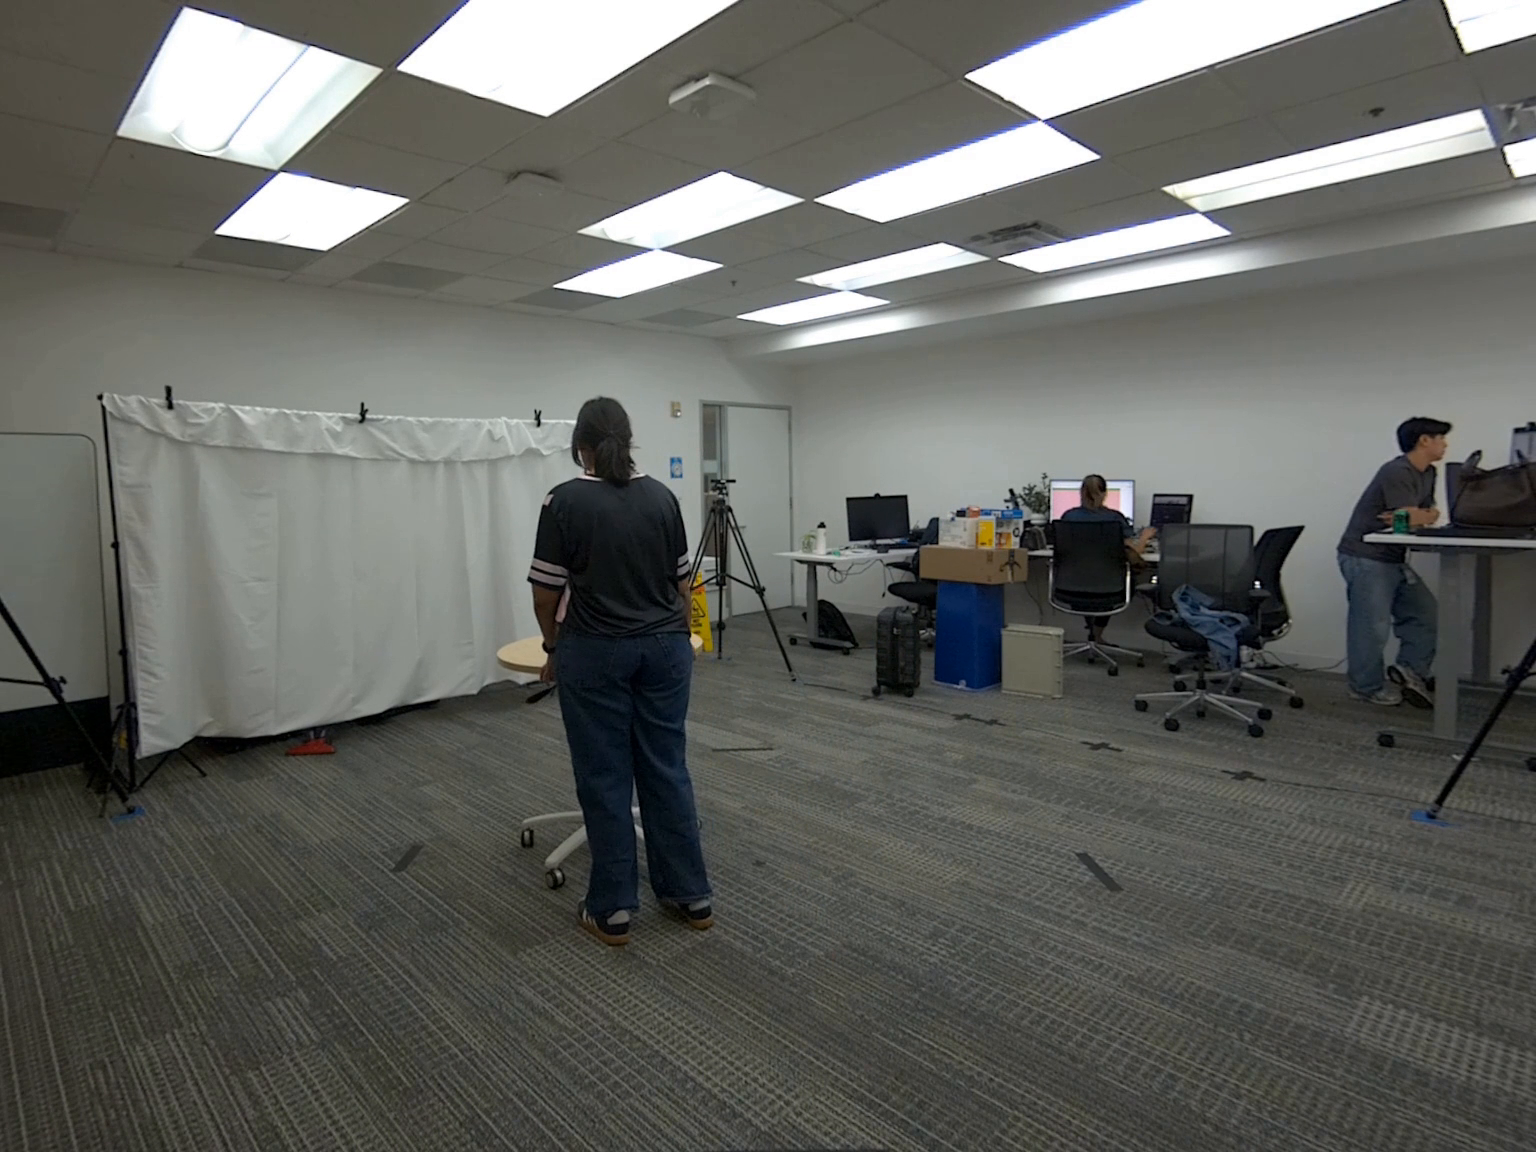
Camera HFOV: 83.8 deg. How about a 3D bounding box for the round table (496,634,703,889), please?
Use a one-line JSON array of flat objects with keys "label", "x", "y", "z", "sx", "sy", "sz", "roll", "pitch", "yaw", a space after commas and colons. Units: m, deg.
[{"label": "round table", "x": -0.602, "y": 0.653, "z": 3.250, "sx": 0.763, "sy": 0.791, "sz": 0.768, "roll": -2, "pitch": 5, "yaw": -2}]
